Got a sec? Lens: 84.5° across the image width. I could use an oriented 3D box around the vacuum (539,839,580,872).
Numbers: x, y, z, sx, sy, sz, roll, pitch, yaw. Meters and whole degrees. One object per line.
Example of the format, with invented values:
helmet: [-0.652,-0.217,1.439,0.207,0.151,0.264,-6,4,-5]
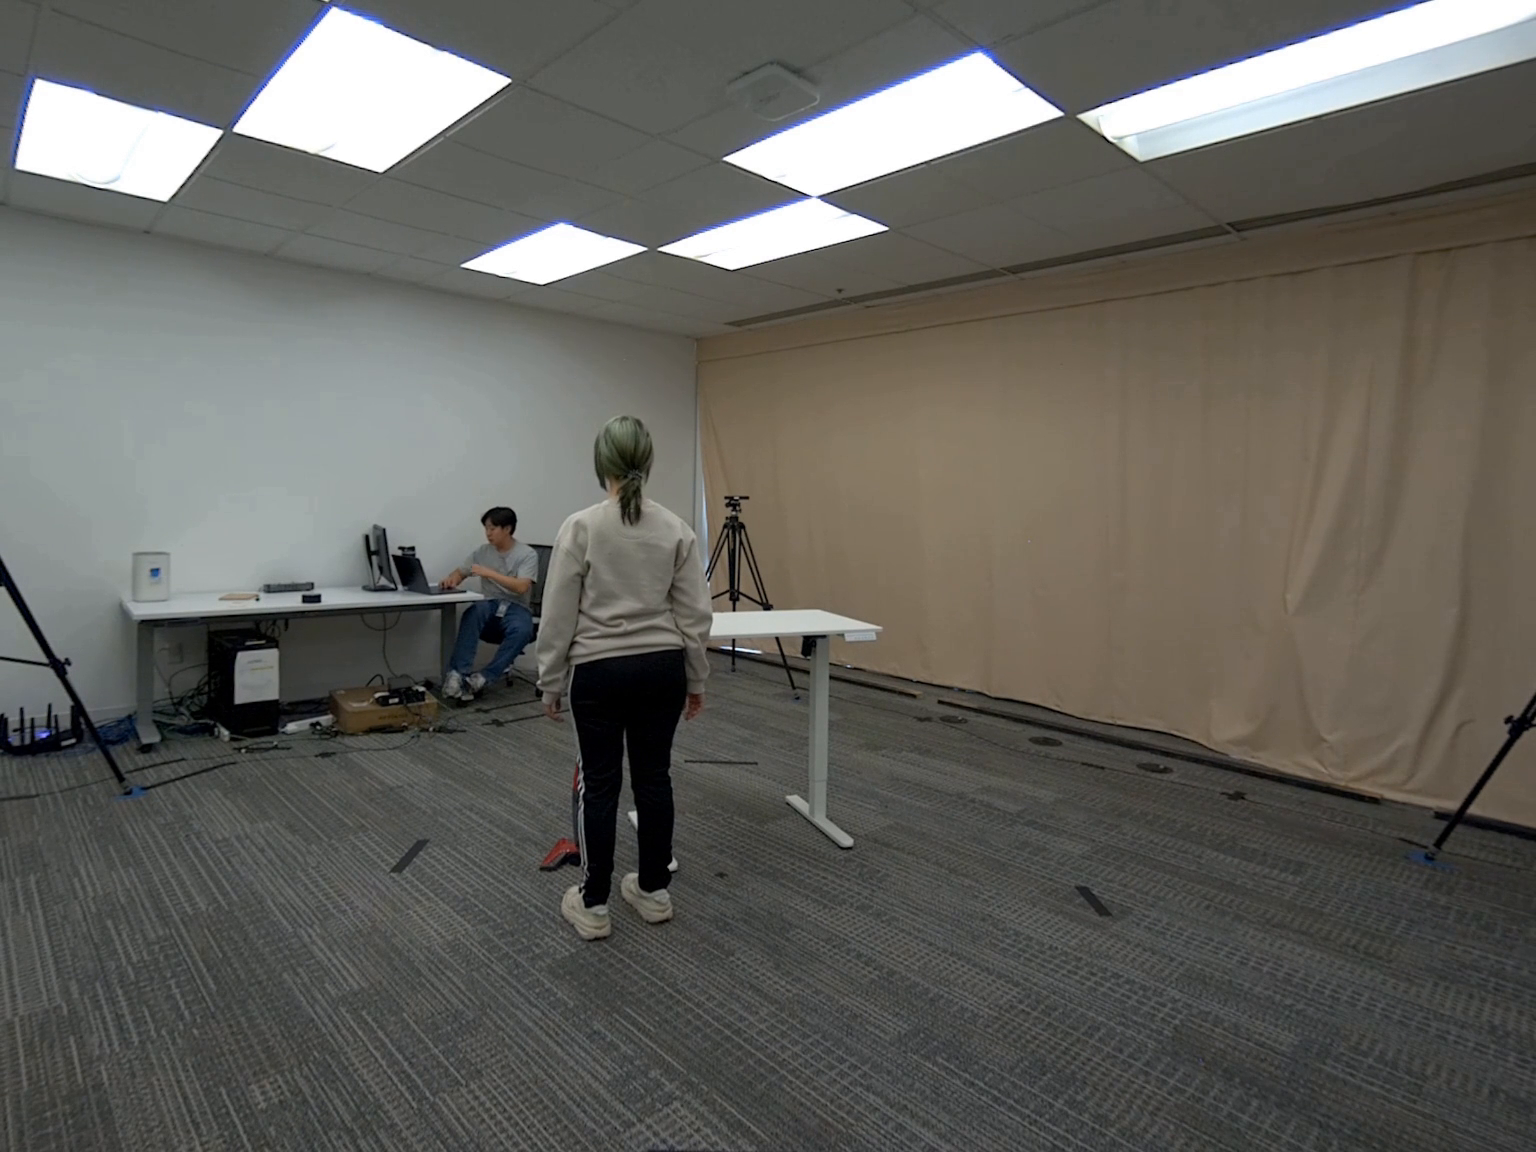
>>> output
vacuum: [-0.638,0.586,3.172,0.144,1.046,0.252,16,5,2]
